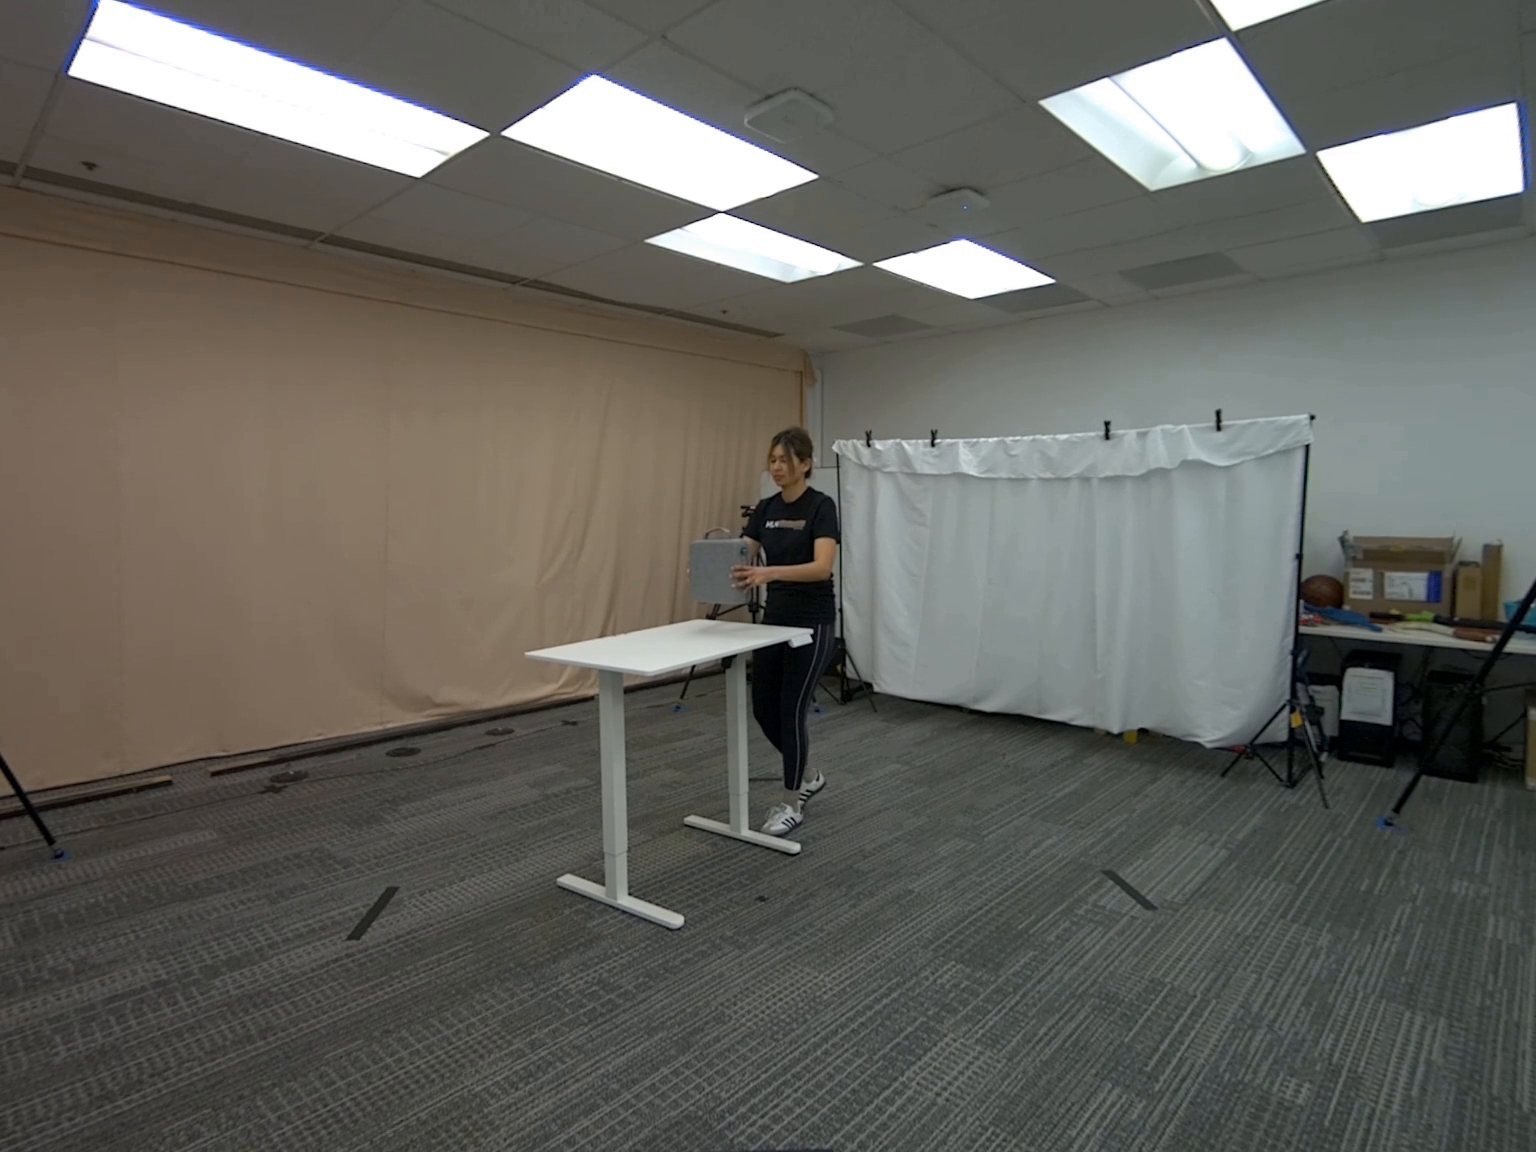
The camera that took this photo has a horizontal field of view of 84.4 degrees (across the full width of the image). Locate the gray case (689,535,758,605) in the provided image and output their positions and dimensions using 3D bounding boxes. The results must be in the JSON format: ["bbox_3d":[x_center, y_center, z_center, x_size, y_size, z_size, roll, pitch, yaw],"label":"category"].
[{"bbox_3d":[-0.180,-0.025,3.326,0.265,0.261,0.101,-2,-3,39],"label":"gray case"}]
